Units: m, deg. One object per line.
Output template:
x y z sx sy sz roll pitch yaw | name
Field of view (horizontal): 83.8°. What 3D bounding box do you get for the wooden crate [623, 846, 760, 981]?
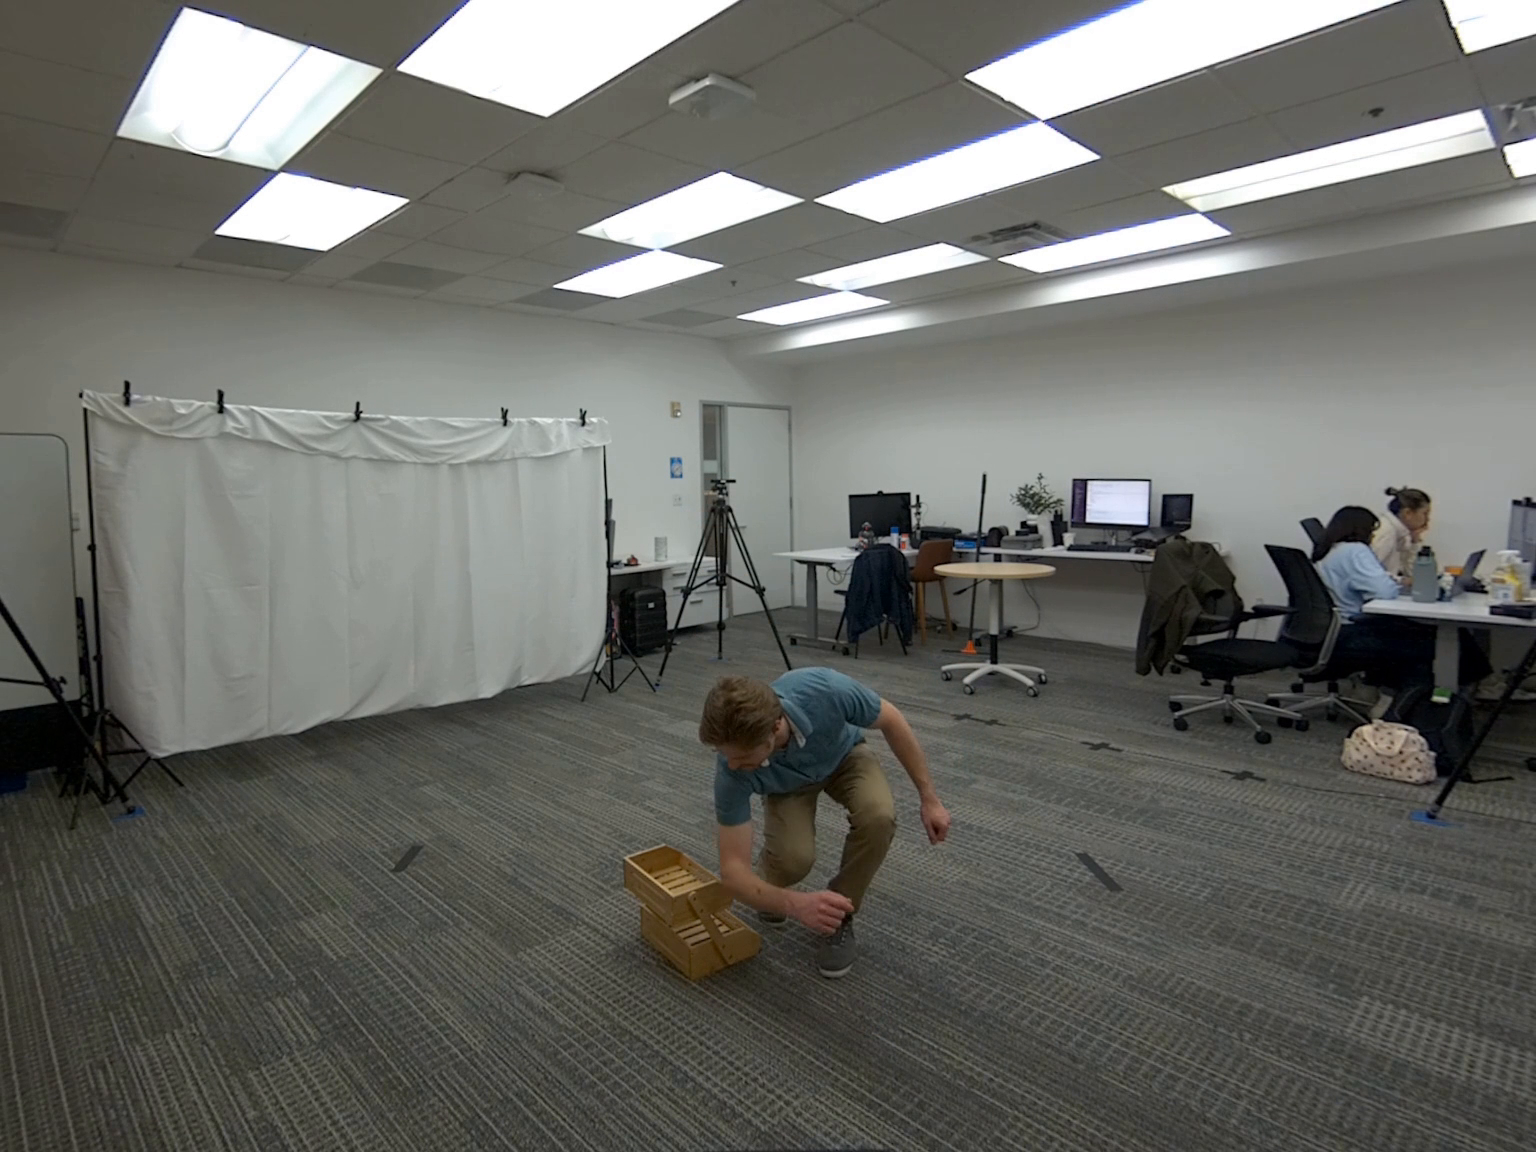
-0.220 0.981 2.558 0.295 0.272 0.334 -6 7 -35 | wooden crate
